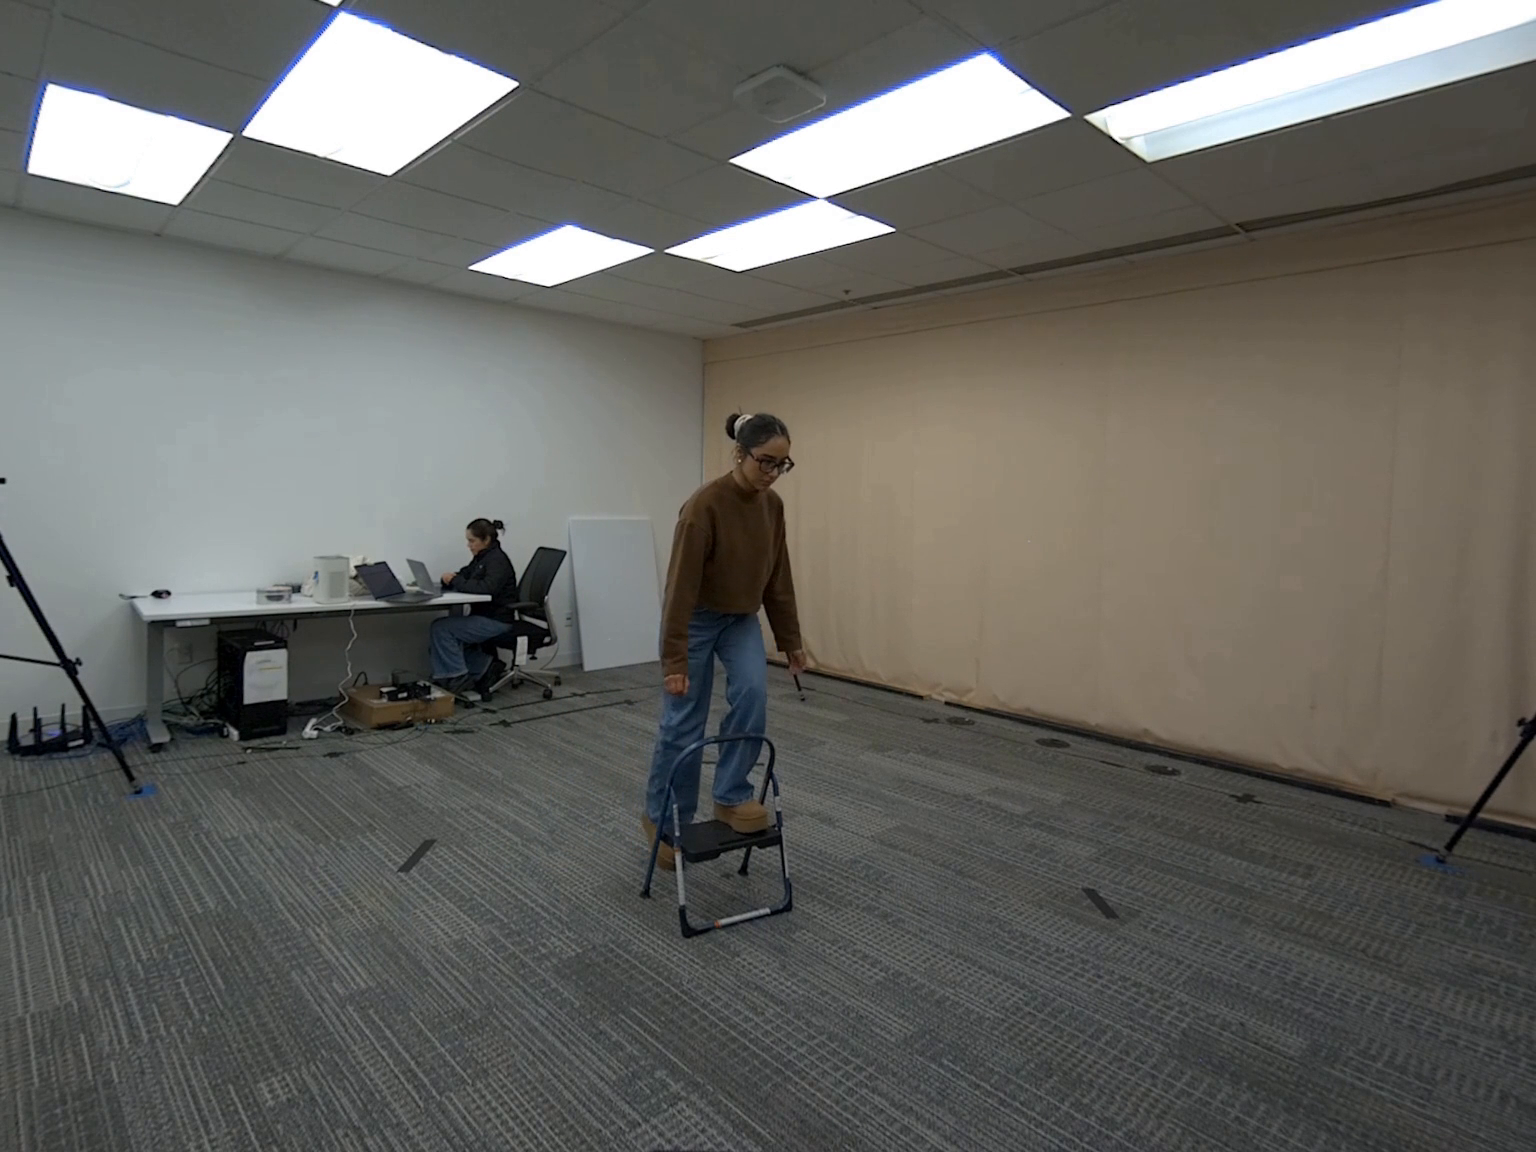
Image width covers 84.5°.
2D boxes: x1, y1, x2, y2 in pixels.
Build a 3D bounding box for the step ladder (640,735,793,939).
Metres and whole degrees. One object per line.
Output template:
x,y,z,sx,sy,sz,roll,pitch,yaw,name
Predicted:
-0.179,0.827,2.880,0.421,0.605,0.357,0,4,-32,step ladder
